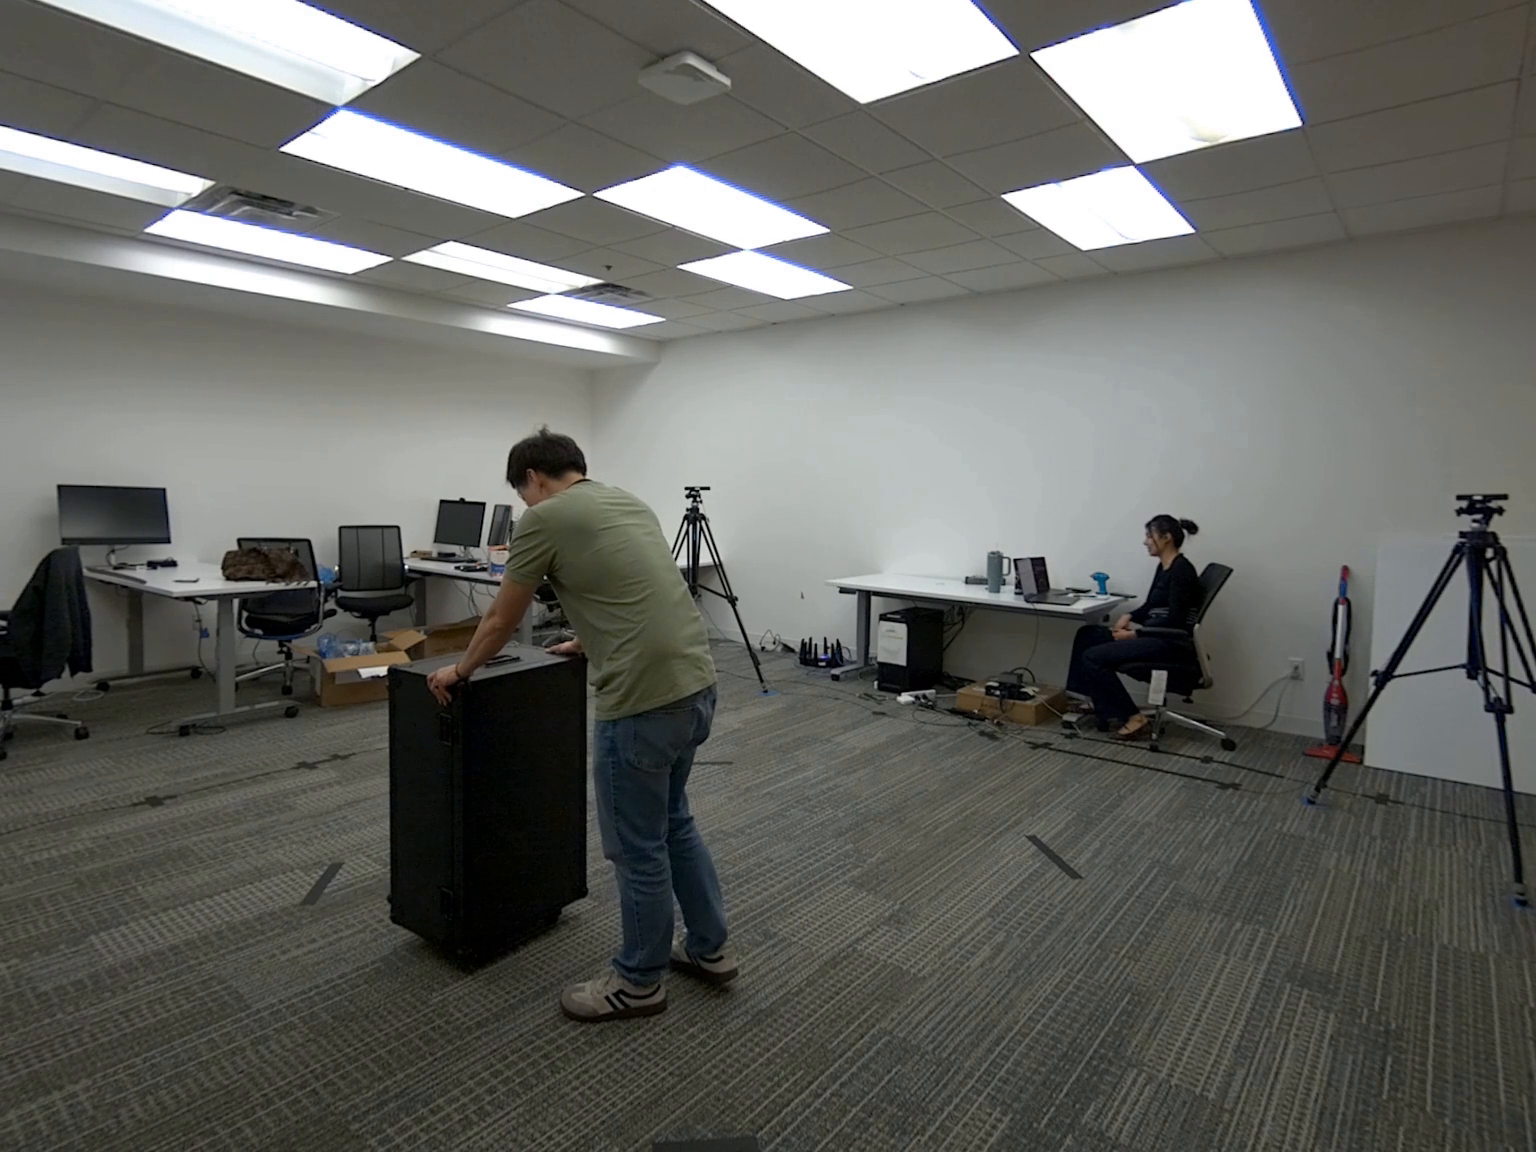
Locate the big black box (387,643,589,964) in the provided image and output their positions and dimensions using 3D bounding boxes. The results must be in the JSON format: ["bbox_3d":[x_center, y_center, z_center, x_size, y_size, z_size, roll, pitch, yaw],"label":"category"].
[{"bbox_3d":[-0.879,0.677,2.634,0.409,0.859,0.507,2,4,35],"label":"big black box"}]
